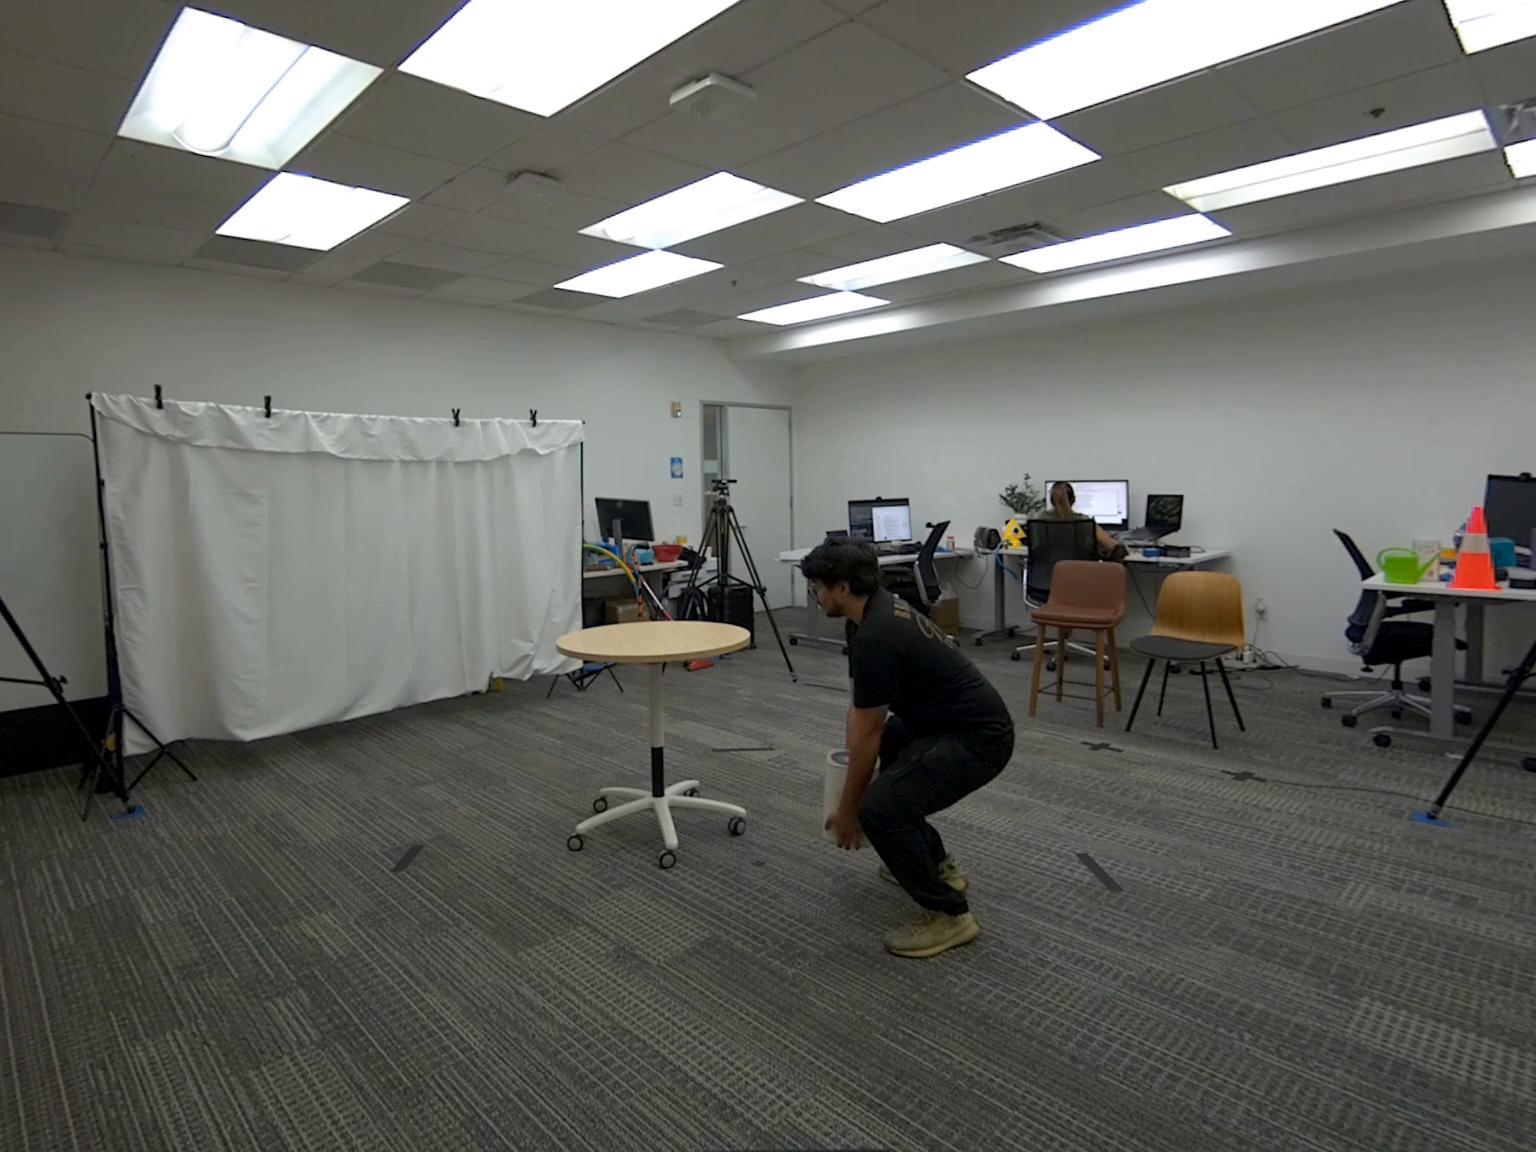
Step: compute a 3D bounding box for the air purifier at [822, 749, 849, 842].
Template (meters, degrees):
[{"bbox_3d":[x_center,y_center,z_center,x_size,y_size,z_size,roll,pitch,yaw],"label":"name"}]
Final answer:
[{"bbox_3d":[0.285,0.730,2.740,0.176,0.261,0.166,10,6,13],"label":"air purifier"}]
